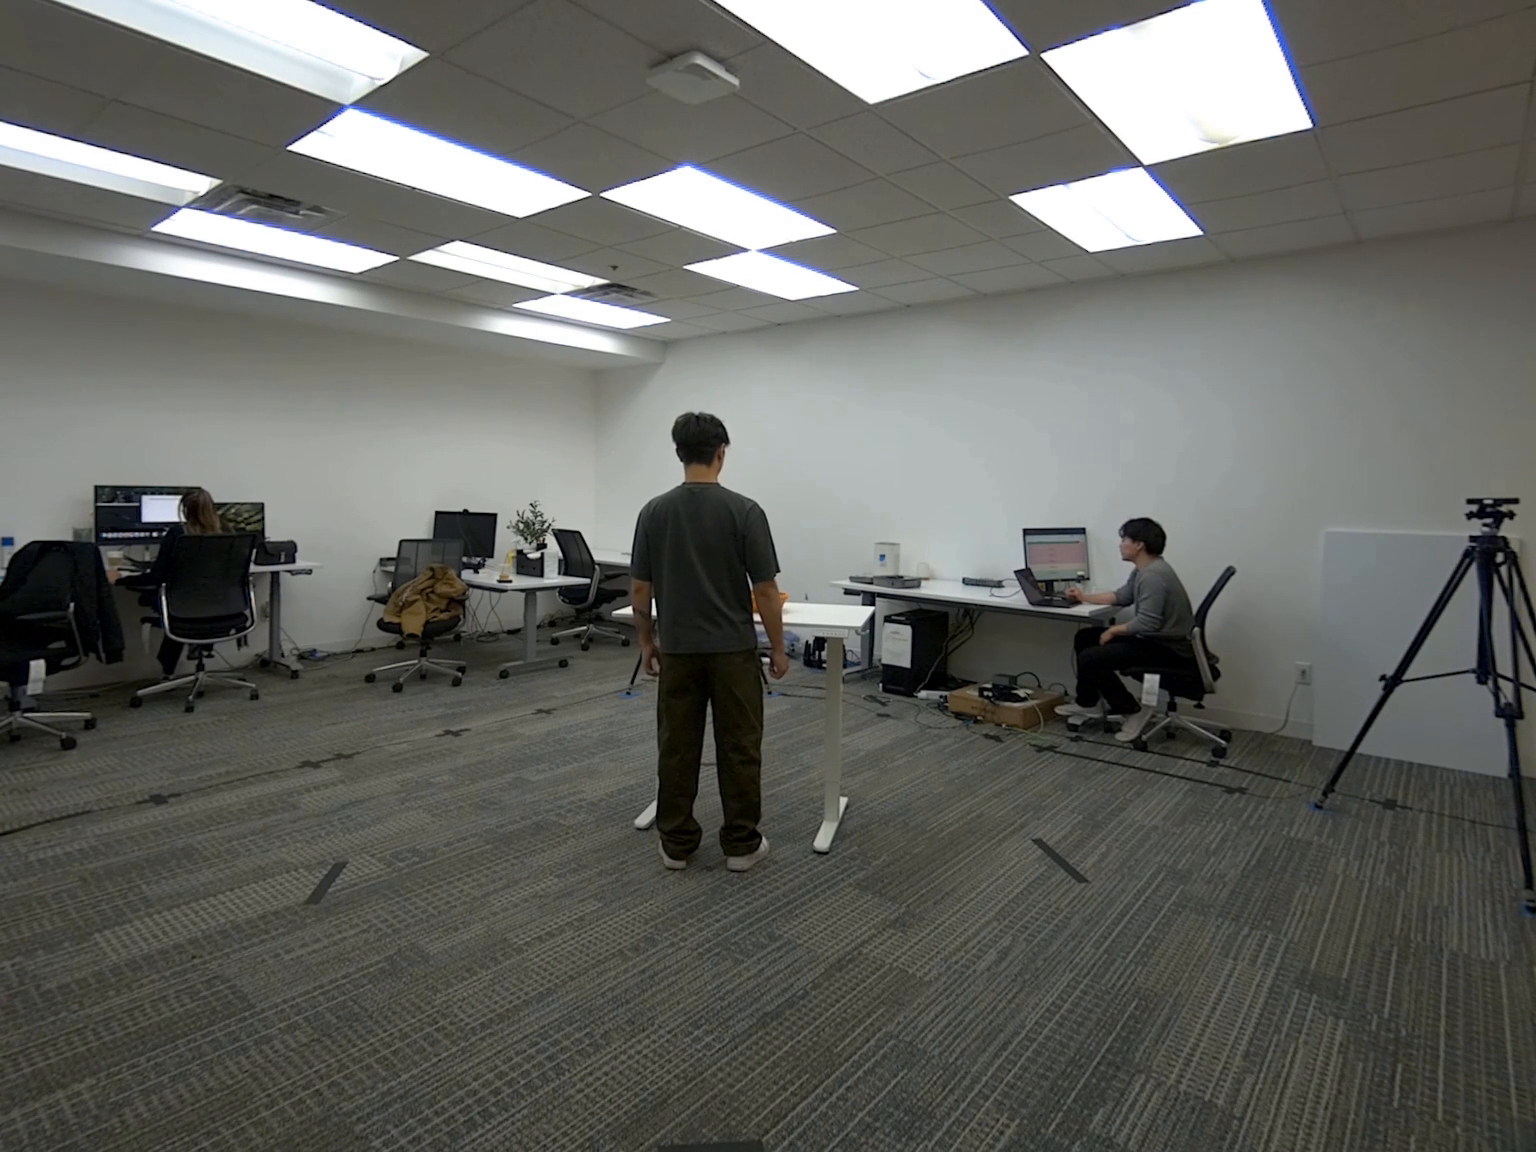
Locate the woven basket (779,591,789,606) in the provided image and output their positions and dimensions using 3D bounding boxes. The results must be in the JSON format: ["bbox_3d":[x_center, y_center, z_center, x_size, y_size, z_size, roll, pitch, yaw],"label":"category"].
[{"bbox_3d":[-0.083,0.106,3.595,0.358,0.073,0.248,2,5,19],"label":"woven basket"}]
